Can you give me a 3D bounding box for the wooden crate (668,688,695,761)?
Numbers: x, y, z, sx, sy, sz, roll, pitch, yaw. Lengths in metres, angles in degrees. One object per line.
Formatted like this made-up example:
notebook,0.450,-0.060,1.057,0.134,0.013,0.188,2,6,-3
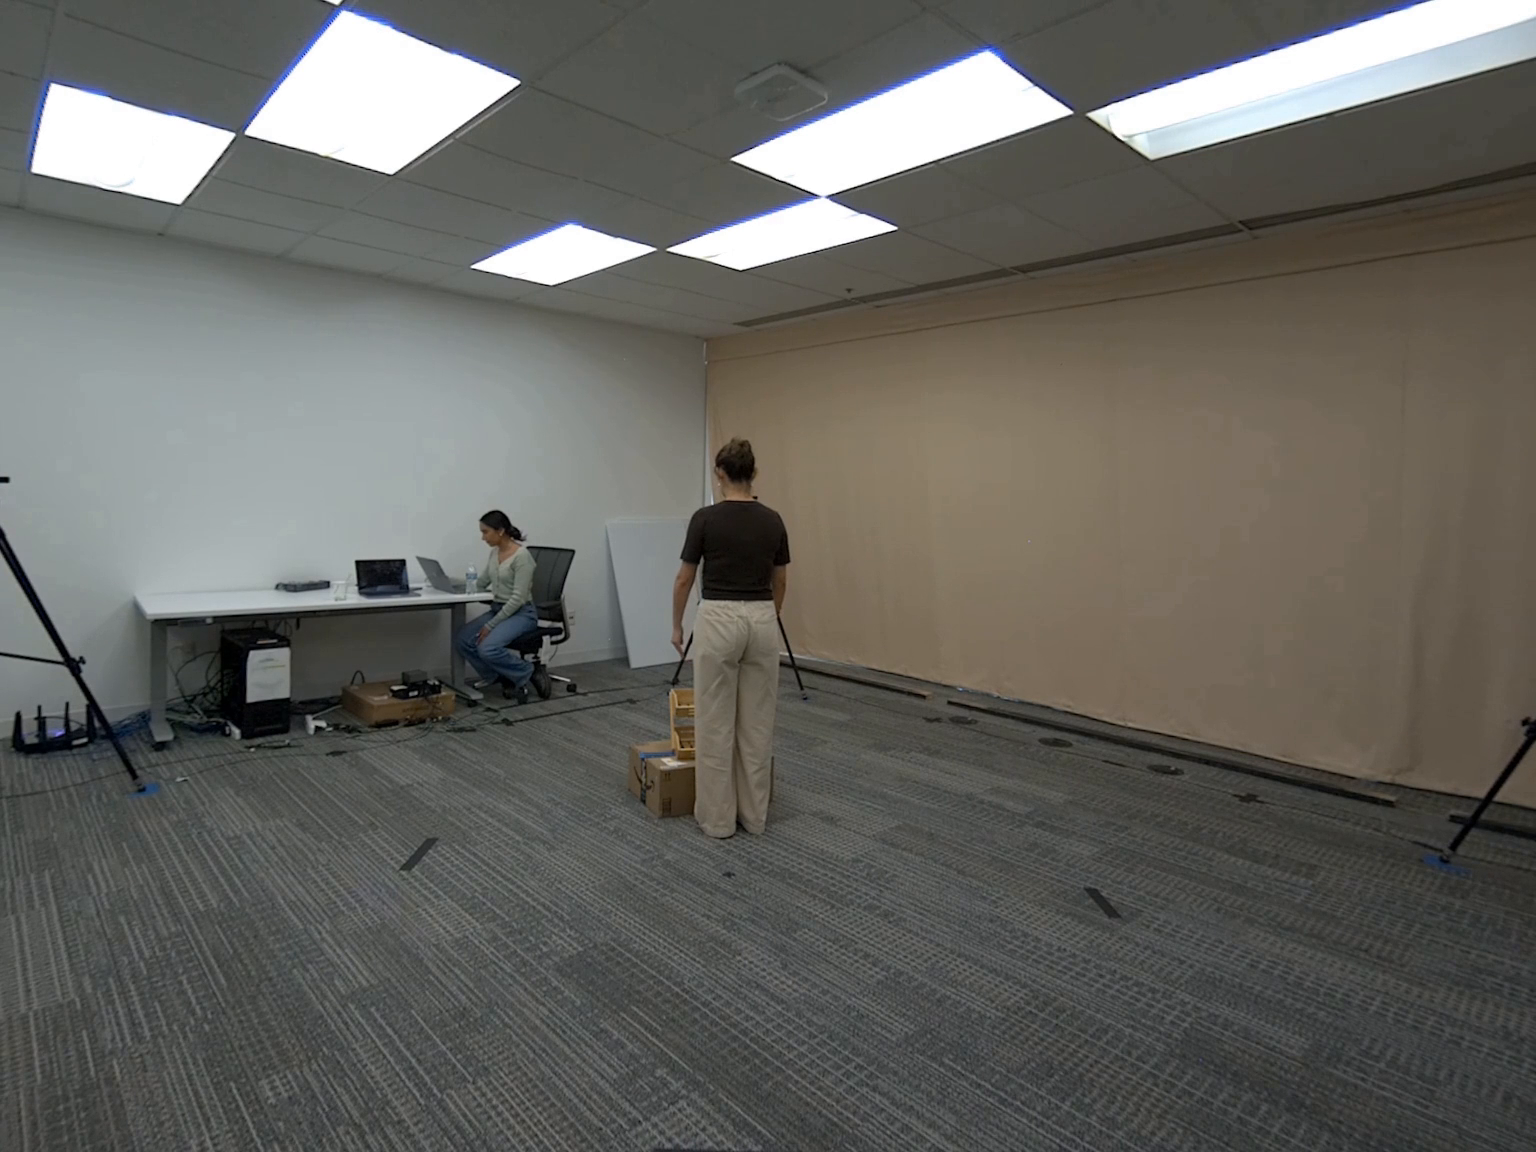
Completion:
wooden crate,-0.298,0.680,3.926,0.321,0.273,0.305,1,3,-13
